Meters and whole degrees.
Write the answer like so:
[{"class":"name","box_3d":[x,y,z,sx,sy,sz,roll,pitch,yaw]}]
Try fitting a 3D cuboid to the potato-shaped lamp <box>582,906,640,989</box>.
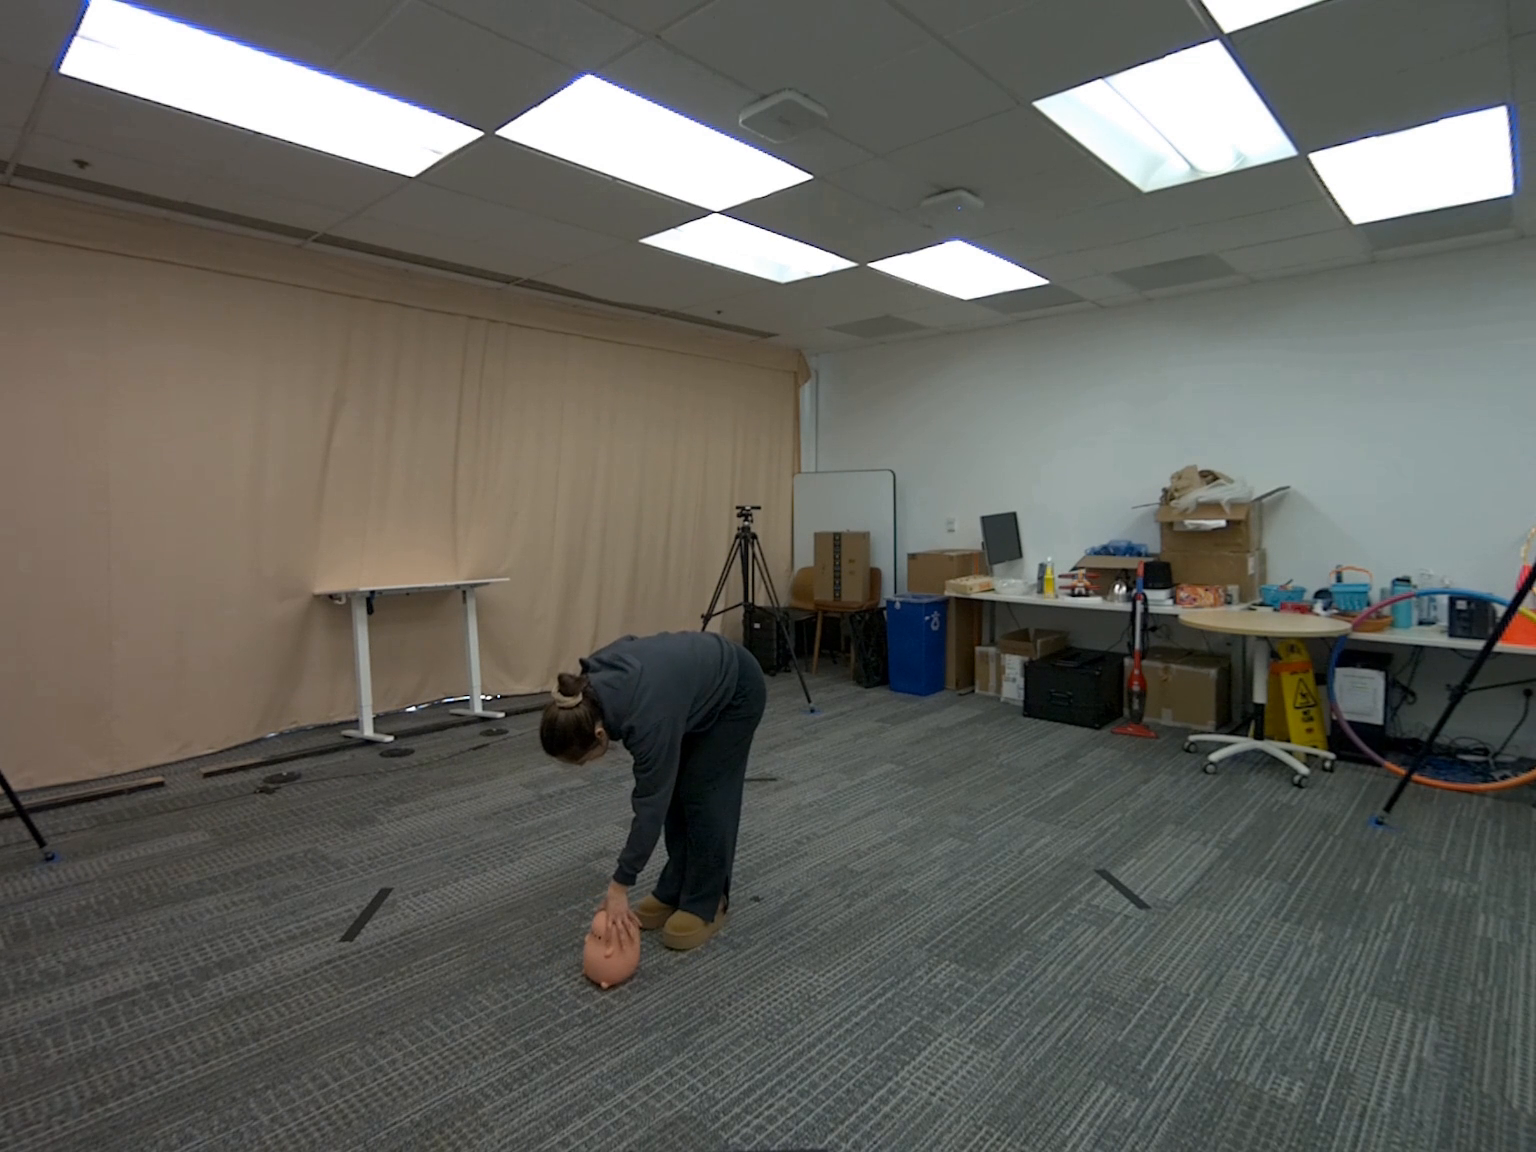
[{"class":"potato-shaped lamp","box_3d":[-0.446,1.096,2.500,0.166,0.198,0.170,-3,1,-37]}]
